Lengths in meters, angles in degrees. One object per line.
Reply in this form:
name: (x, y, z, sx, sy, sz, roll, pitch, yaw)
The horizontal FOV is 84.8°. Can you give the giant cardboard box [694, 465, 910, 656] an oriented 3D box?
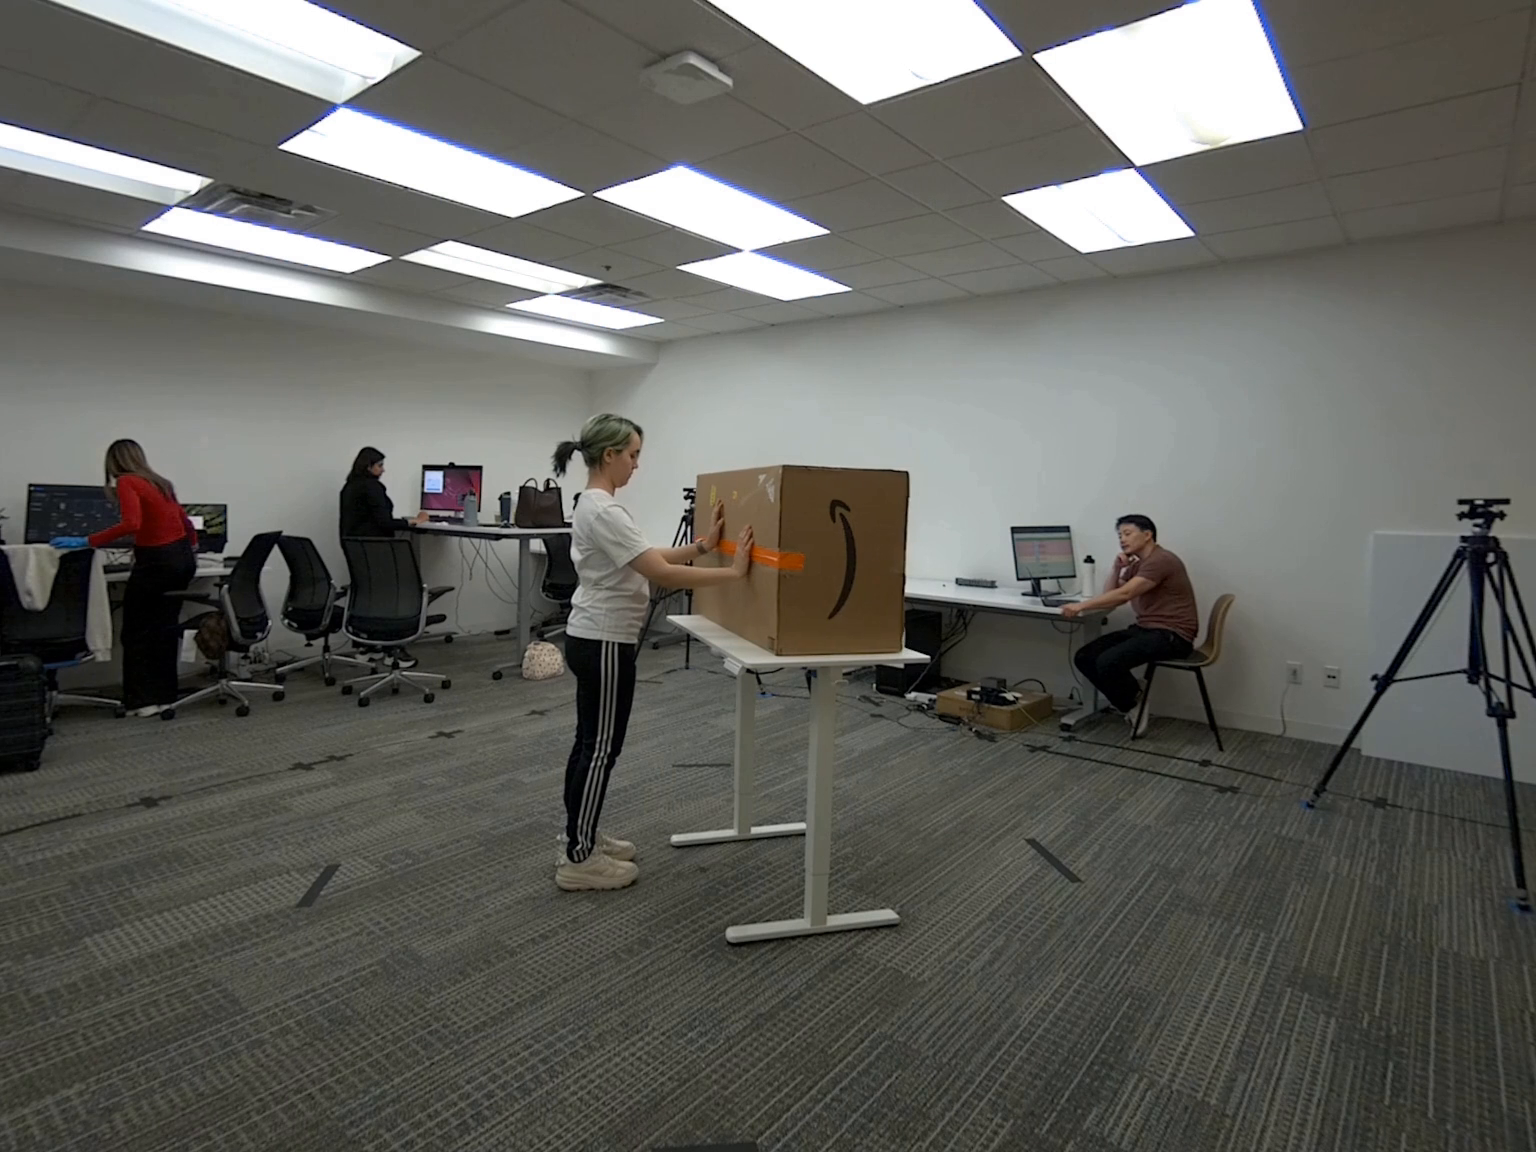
giant cardboard box: (0.054, -0.092, 3.100, 0.438, 0.582, 1.049, 1, 4, -19)
